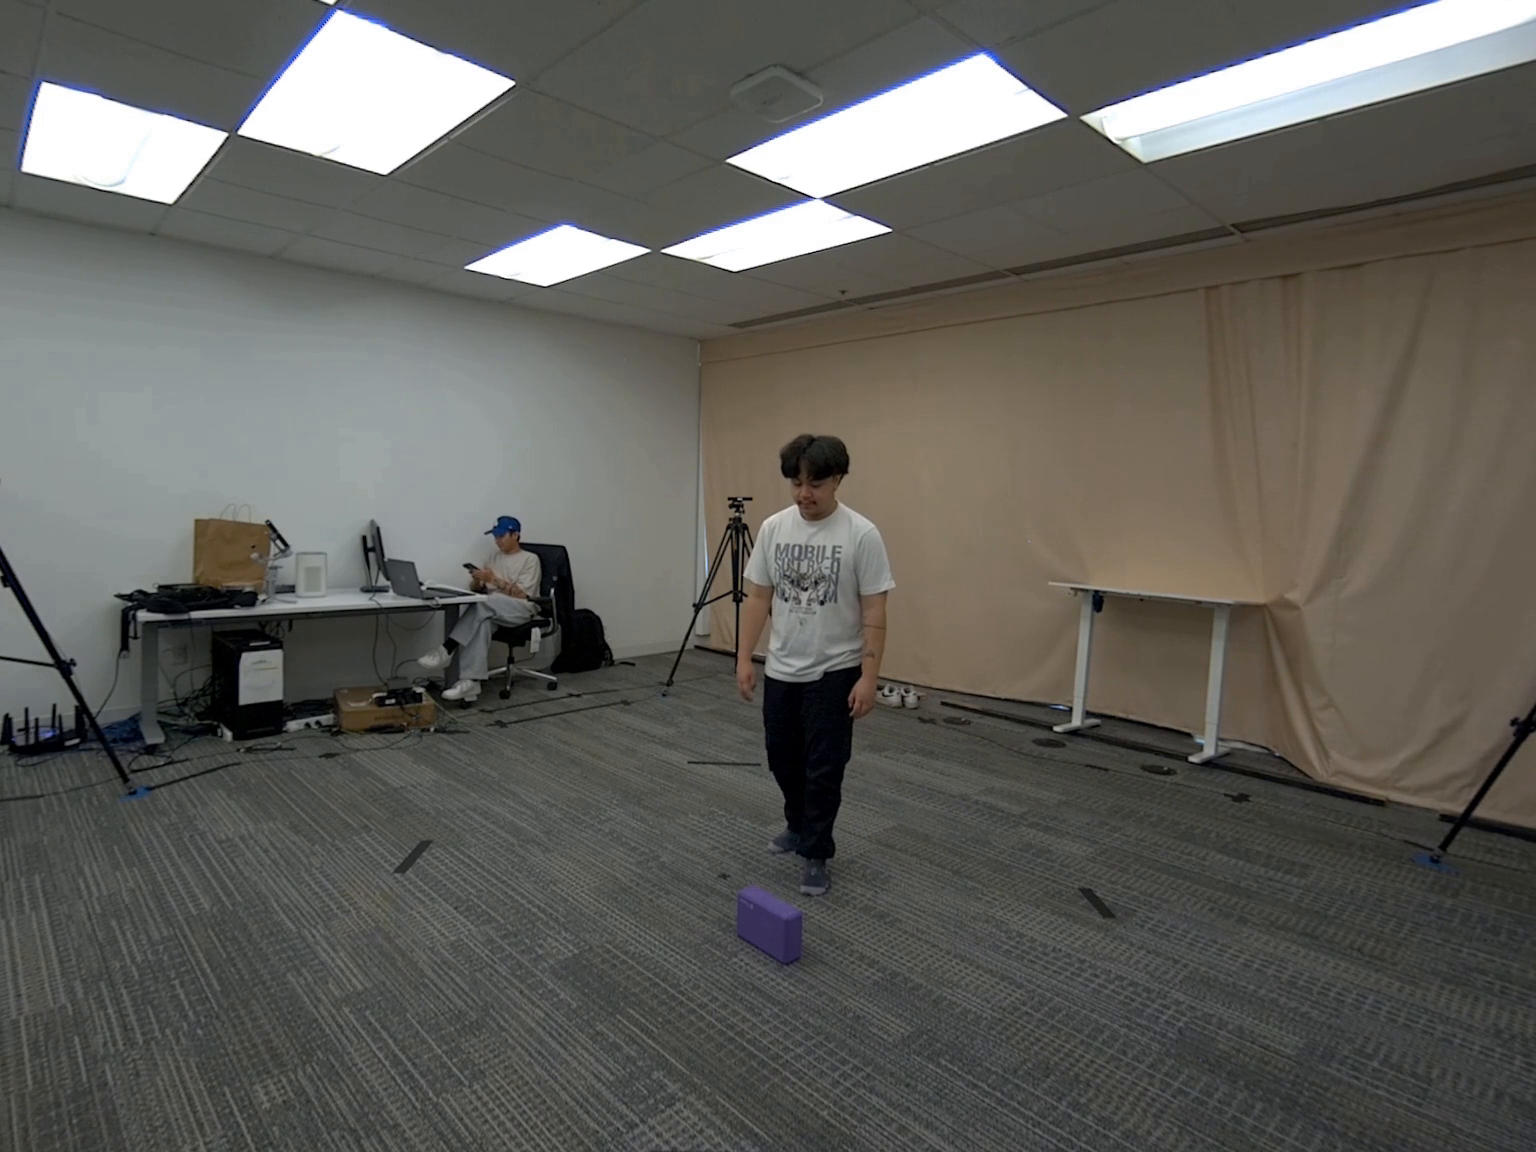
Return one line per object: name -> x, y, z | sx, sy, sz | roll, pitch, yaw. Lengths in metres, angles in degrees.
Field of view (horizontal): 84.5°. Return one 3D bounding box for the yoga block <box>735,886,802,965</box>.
yoga block -> -0.003, 1.079, 2.614 | 0.075, 0.148, 0.235 | -2, 6, -42
